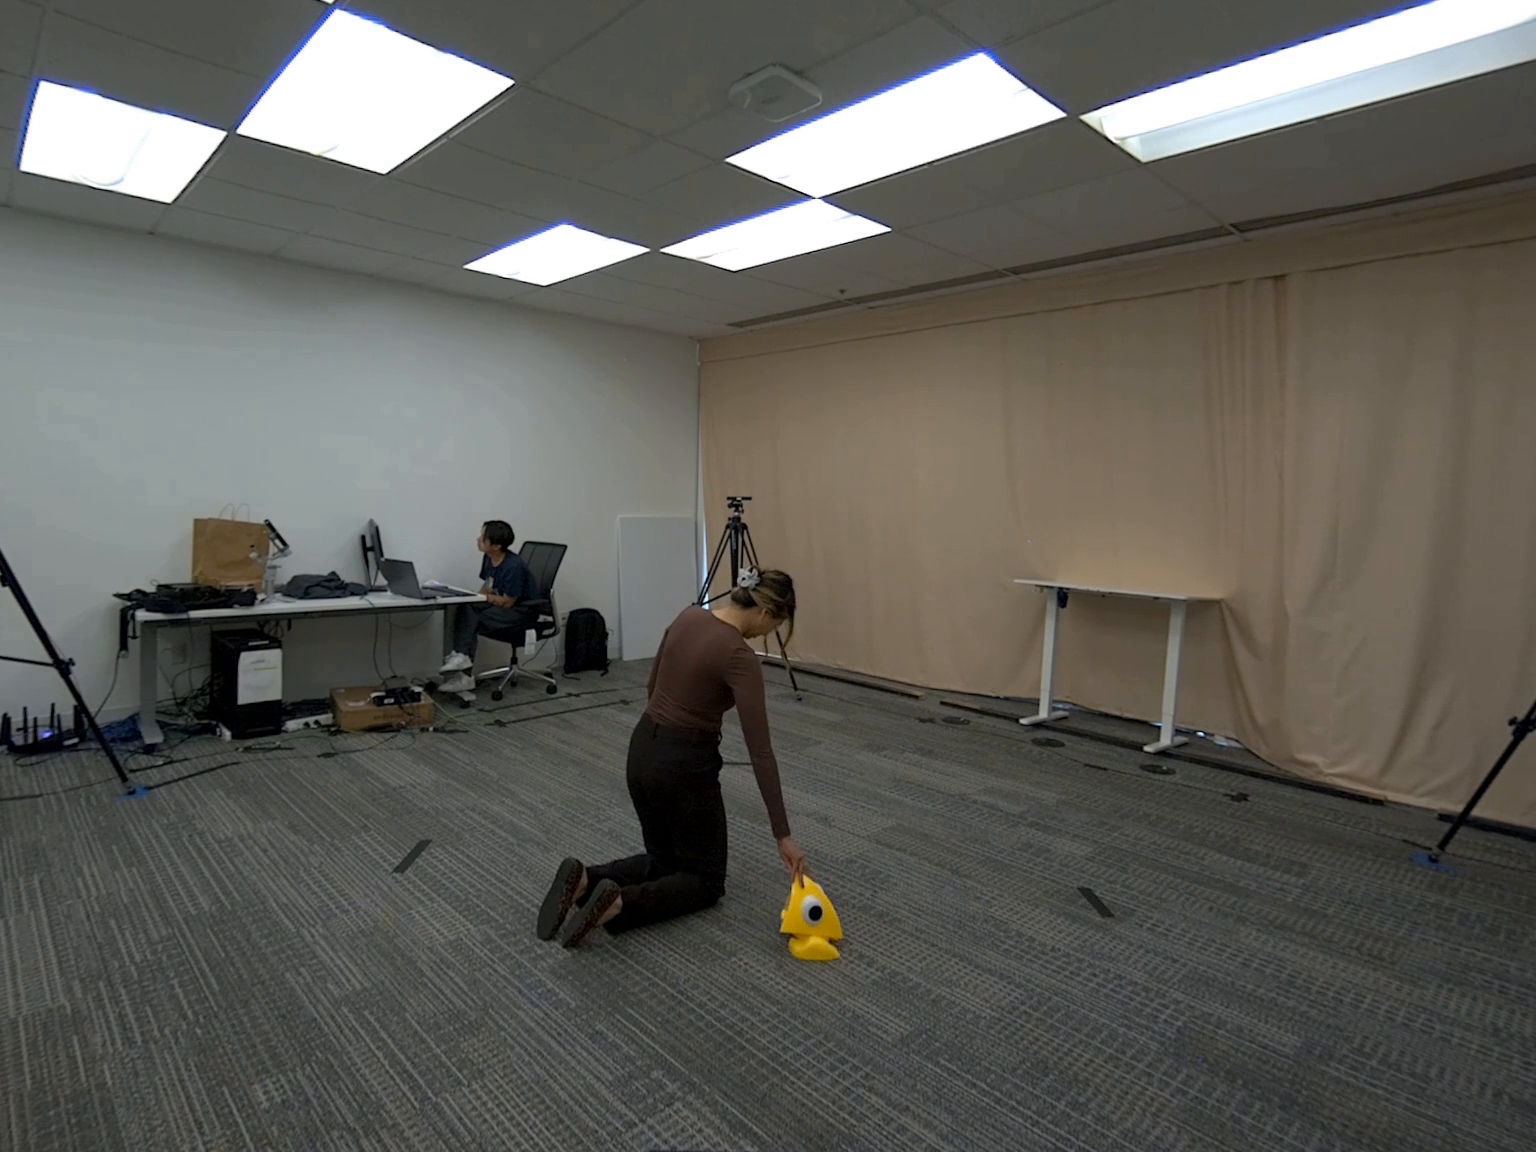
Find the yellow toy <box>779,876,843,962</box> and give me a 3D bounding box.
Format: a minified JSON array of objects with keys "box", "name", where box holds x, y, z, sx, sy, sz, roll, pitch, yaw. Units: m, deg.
[{"box":[0.133,1.043,2.637,0.194,0.230,0.204,1,5,9],"name":"yellow toy"}]
